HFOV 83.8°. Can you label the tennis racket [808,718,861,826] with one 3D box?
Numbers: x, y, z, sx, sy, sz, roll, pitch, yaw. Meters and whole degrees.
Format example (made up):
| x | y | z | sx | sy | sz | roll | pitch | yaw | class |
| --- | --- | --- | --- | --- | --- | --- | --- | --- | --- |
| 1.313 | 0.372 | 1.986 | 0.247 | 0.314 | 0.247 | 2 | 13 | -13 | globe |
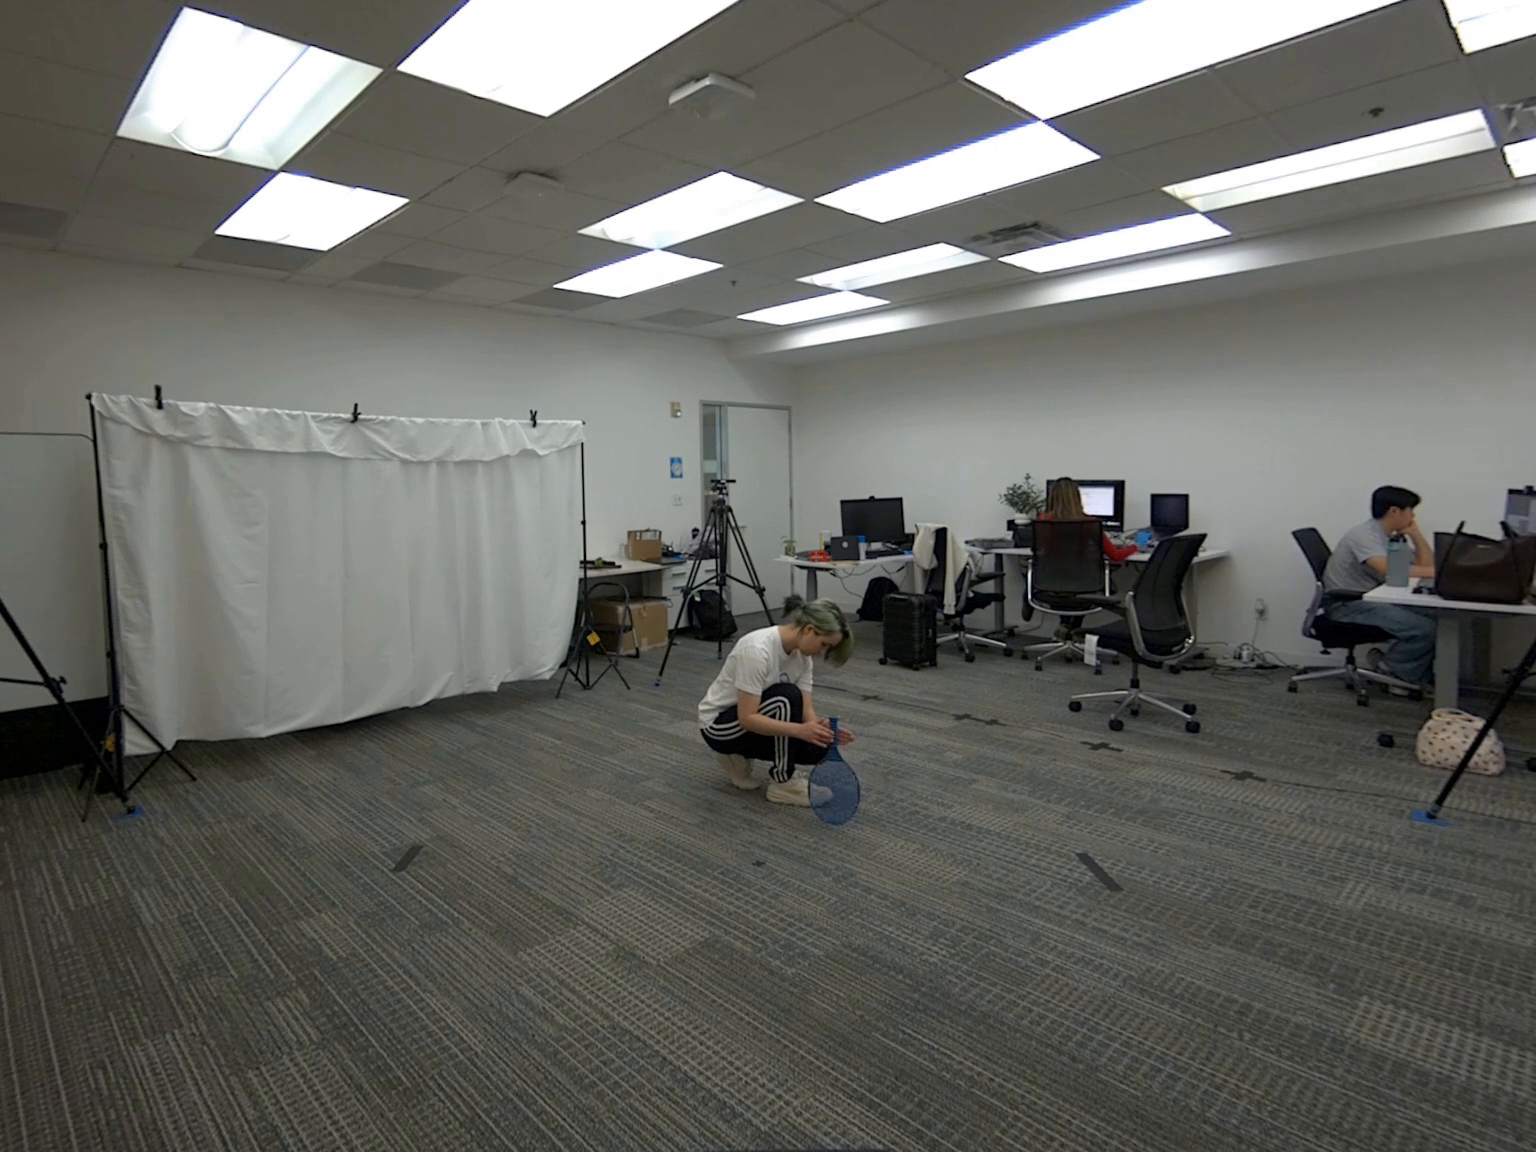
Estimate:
| x | y | z | sx | sy | sz | roll | pitch | yaw | class |
| --- | --- | --- | --- | --- | --- | --- | --- | --- | --- |
| 0.267 | 0.791 | 3.457 | 0.217 | 0.432 | 0.031 | 0 | 1 | 19 | tennis racket |
